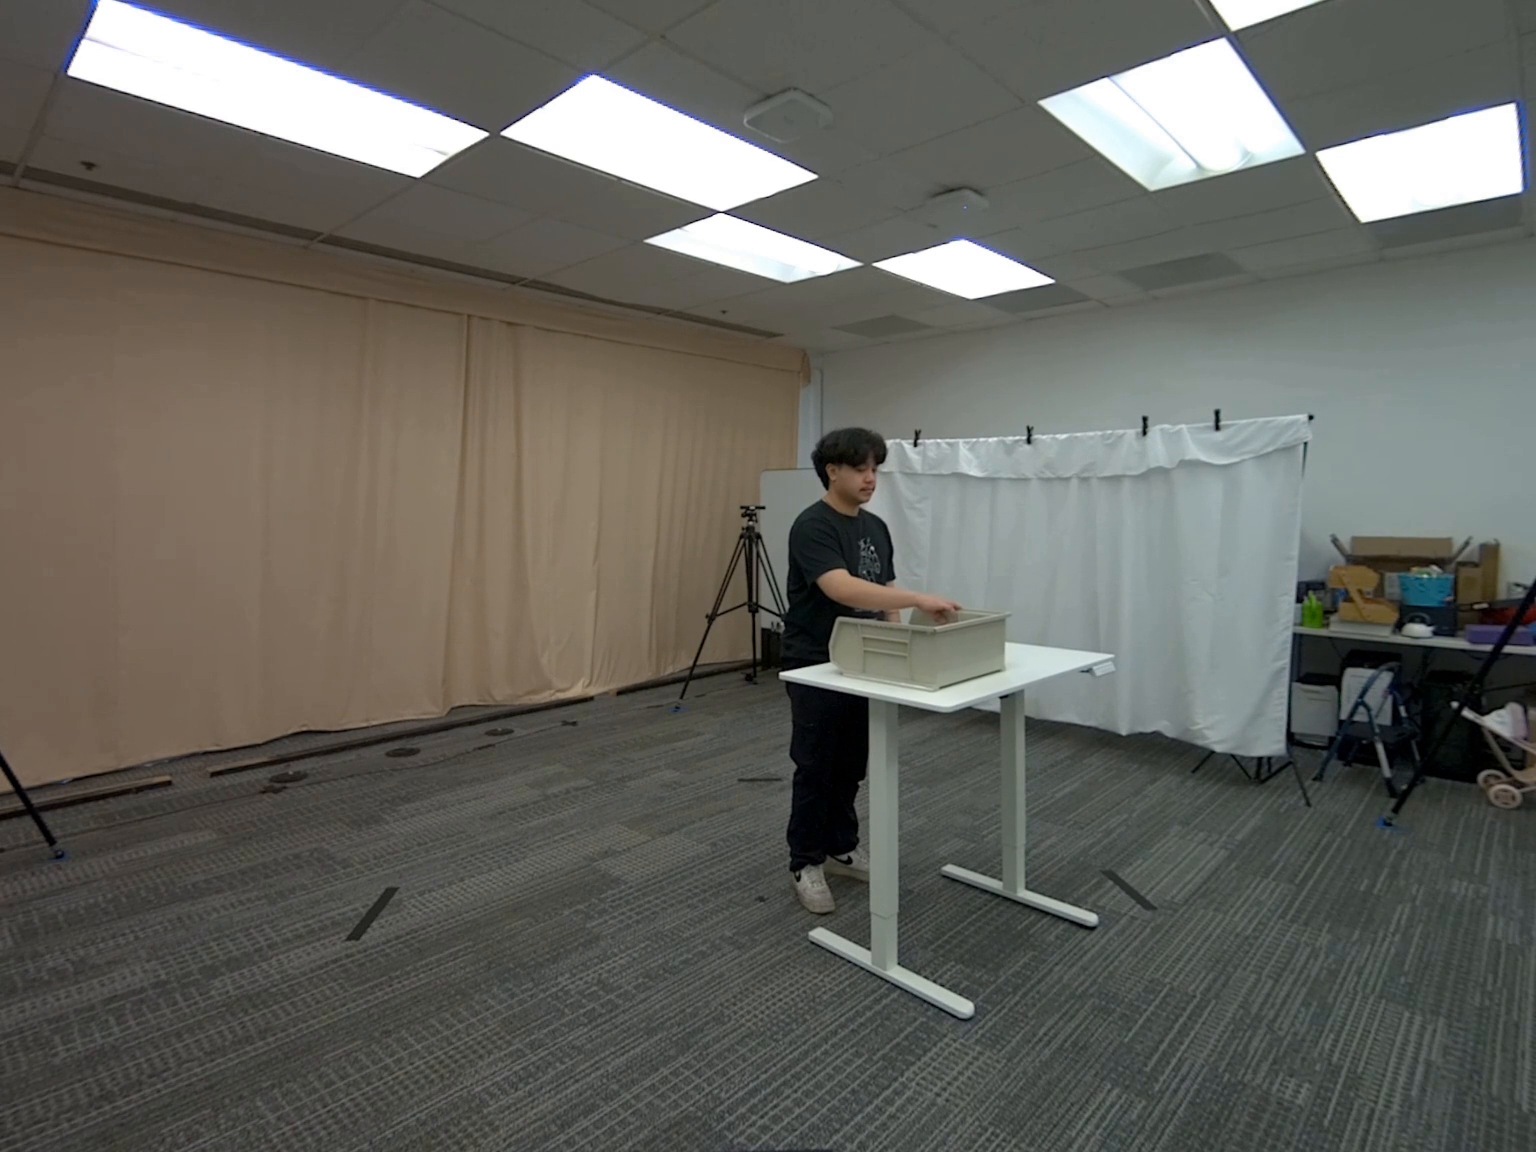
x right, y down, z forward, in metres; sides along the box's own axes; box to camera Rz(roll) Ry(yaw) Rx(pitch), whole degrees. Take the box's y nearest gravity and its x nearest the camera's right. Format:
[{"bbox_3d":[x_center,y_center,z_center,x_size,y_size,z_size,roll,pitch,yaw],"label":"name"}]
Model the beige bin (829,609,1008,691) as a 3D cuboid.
[{"bbox_3d":[0.458,0.207,2.572,0.409,0.188,0.390,-5,7,-45],"label":"beige bin"}]
